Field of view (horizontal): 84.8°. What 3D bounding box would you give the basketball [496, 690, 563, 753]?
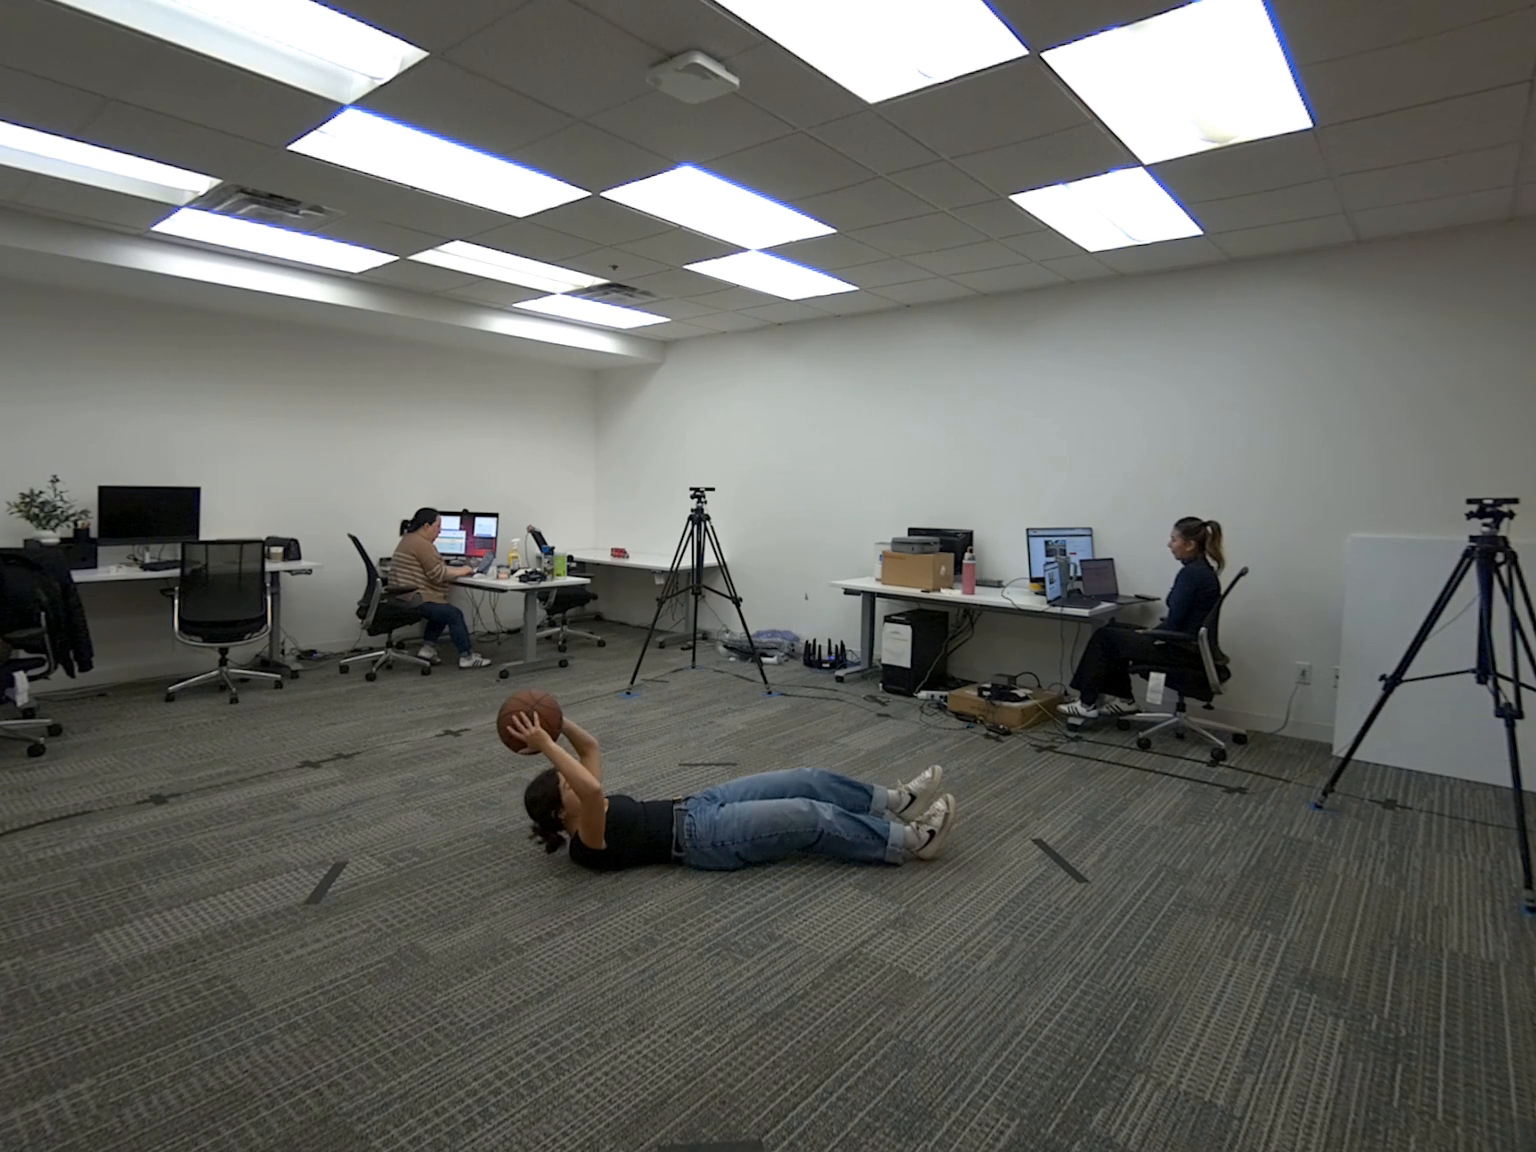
[{"bbox_3d":[-0.888,0.531,3.124,0.235,0.235,0.237,1,4,-2],"label":"basketball"}]
